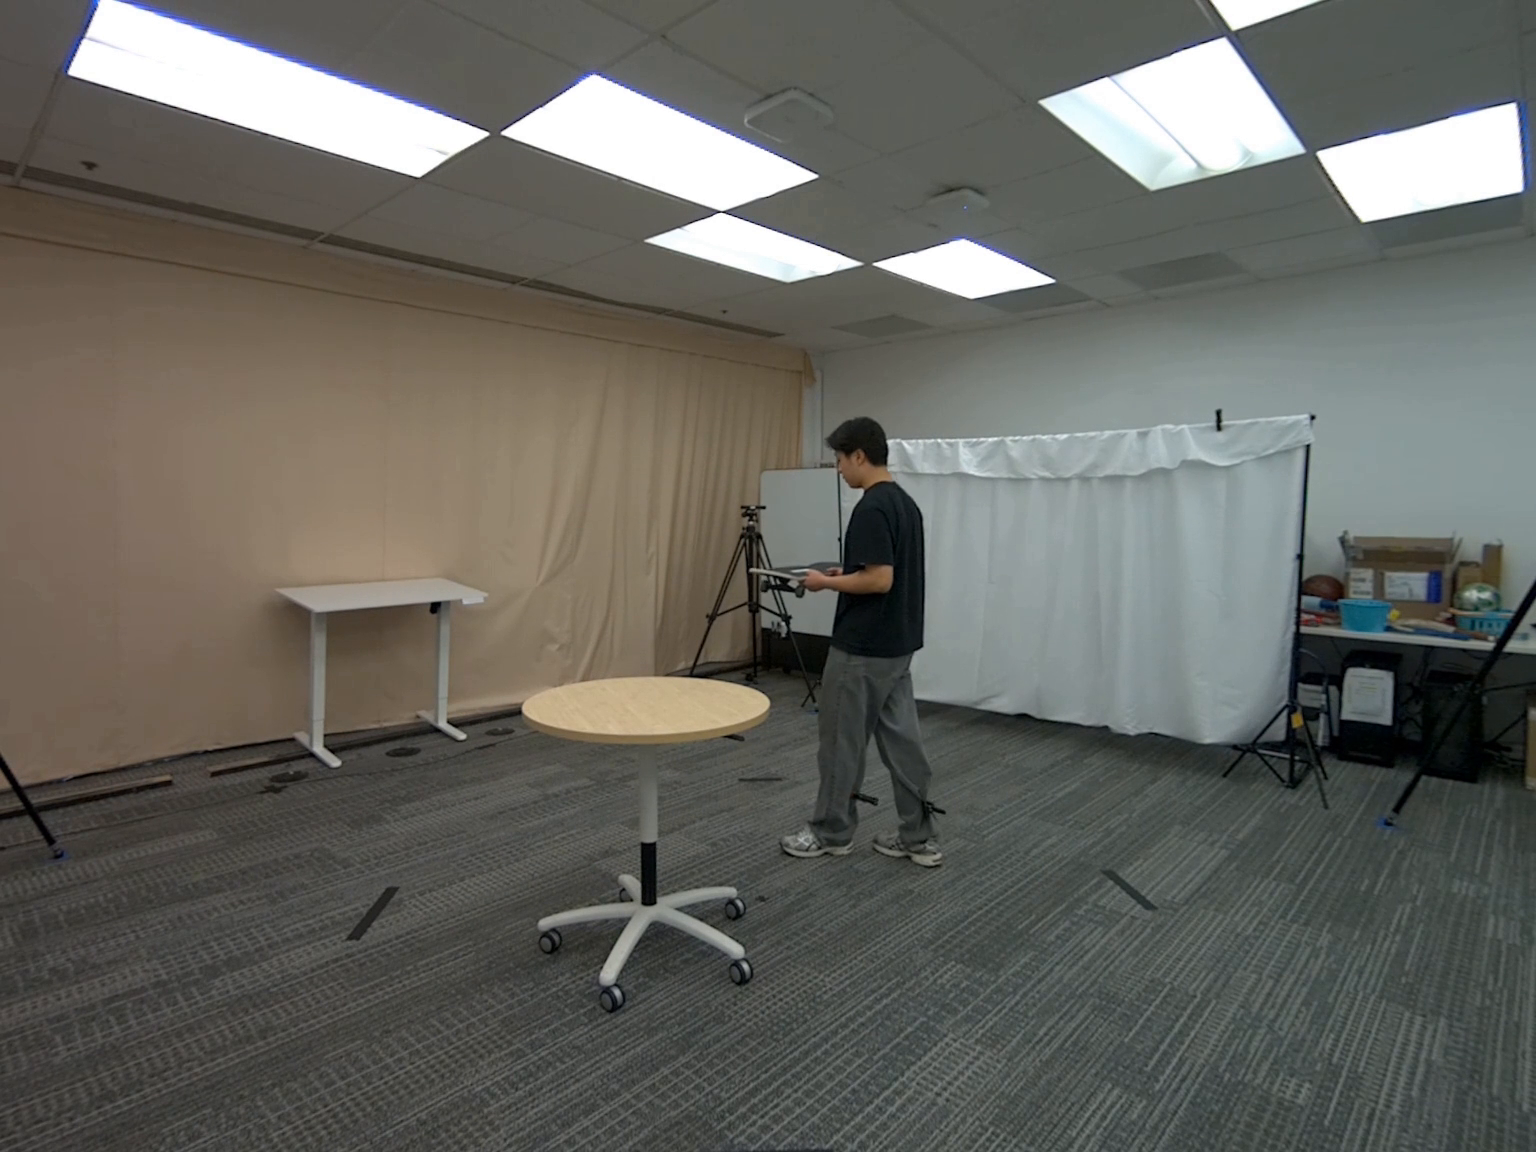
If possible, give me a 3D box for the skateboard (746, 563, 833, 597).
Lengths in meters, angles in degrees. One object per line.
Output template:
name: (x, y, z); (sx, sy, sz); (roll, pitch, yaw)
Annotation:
skateboard: (0.144, 0.012, 3.528); (0.199, 0.110, 0.766); (6, 6, 26)
